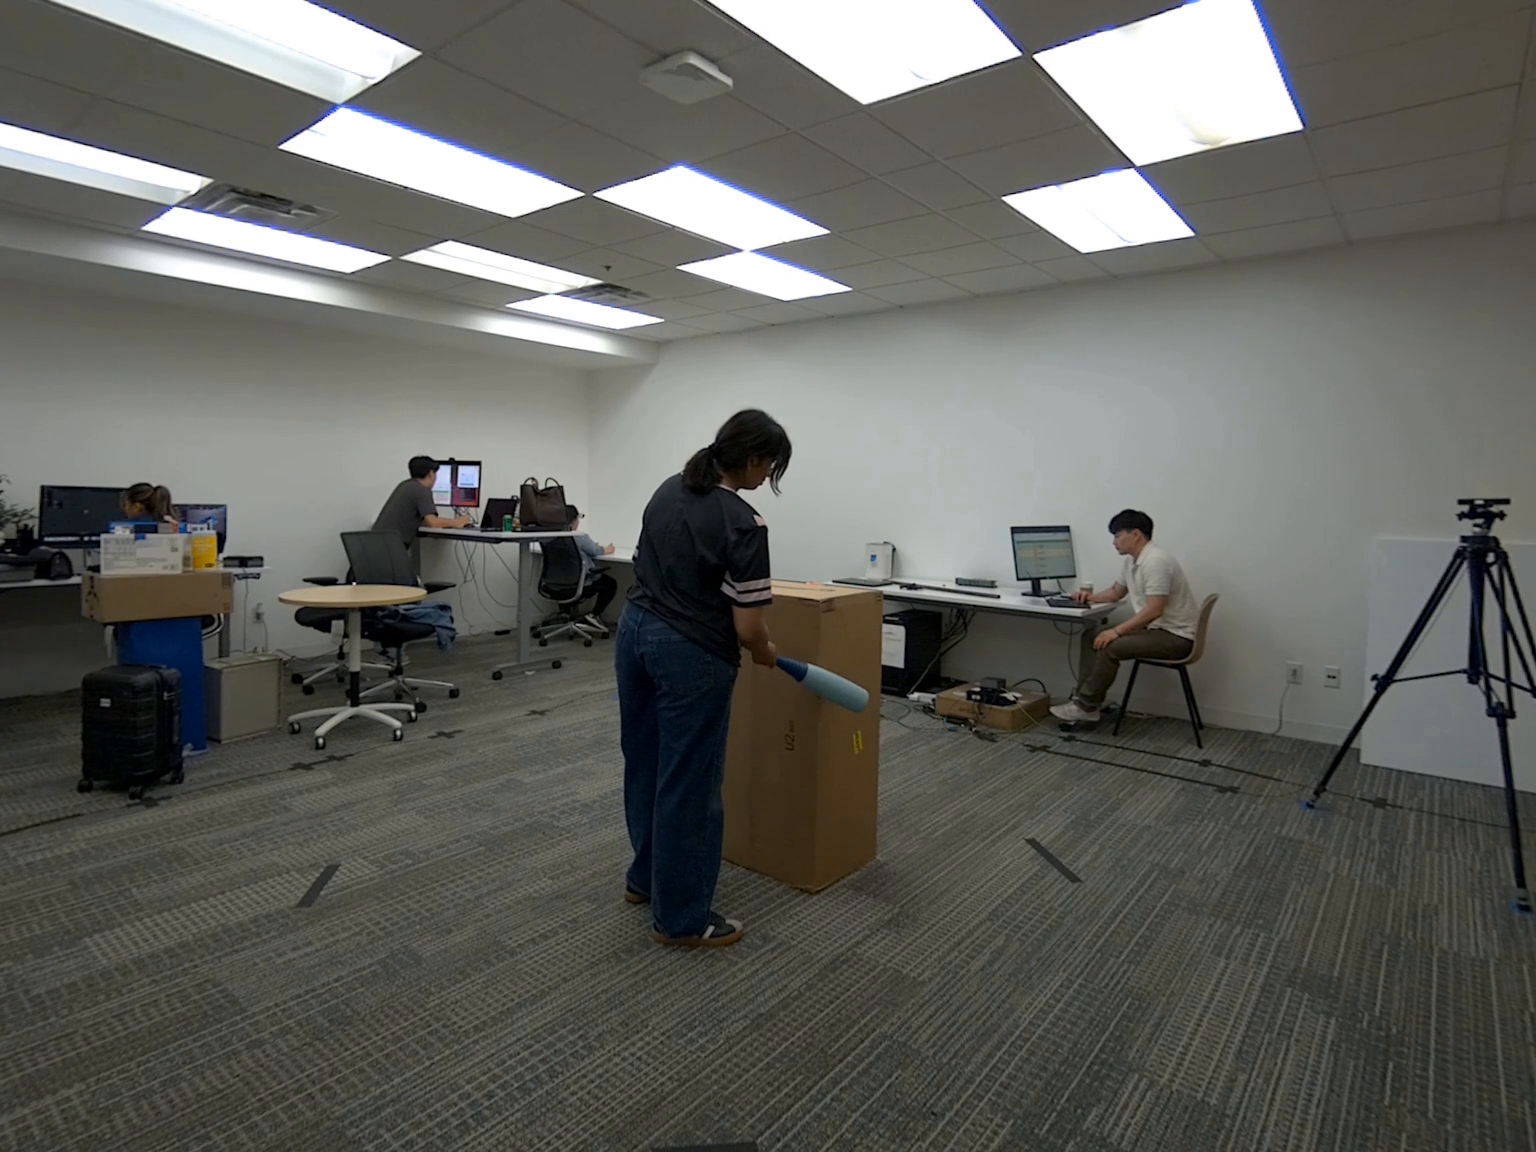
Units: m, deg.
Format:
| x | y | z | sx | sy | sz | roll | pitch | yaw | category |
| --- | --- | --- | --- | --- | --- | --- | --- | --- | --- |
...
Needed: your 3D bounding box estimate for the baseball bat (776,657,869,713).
| x | y | z | sx | sy | sz | roll | pitch | yaw | category |
| --- | --- | --- | --- | --- | --- | --- | --- | --- | --- |
| 0.089 | 0.315 | 2.834 | 0.533 | 0.089 | 0.090 | 27 | -3 | -13 | baseball bat |
